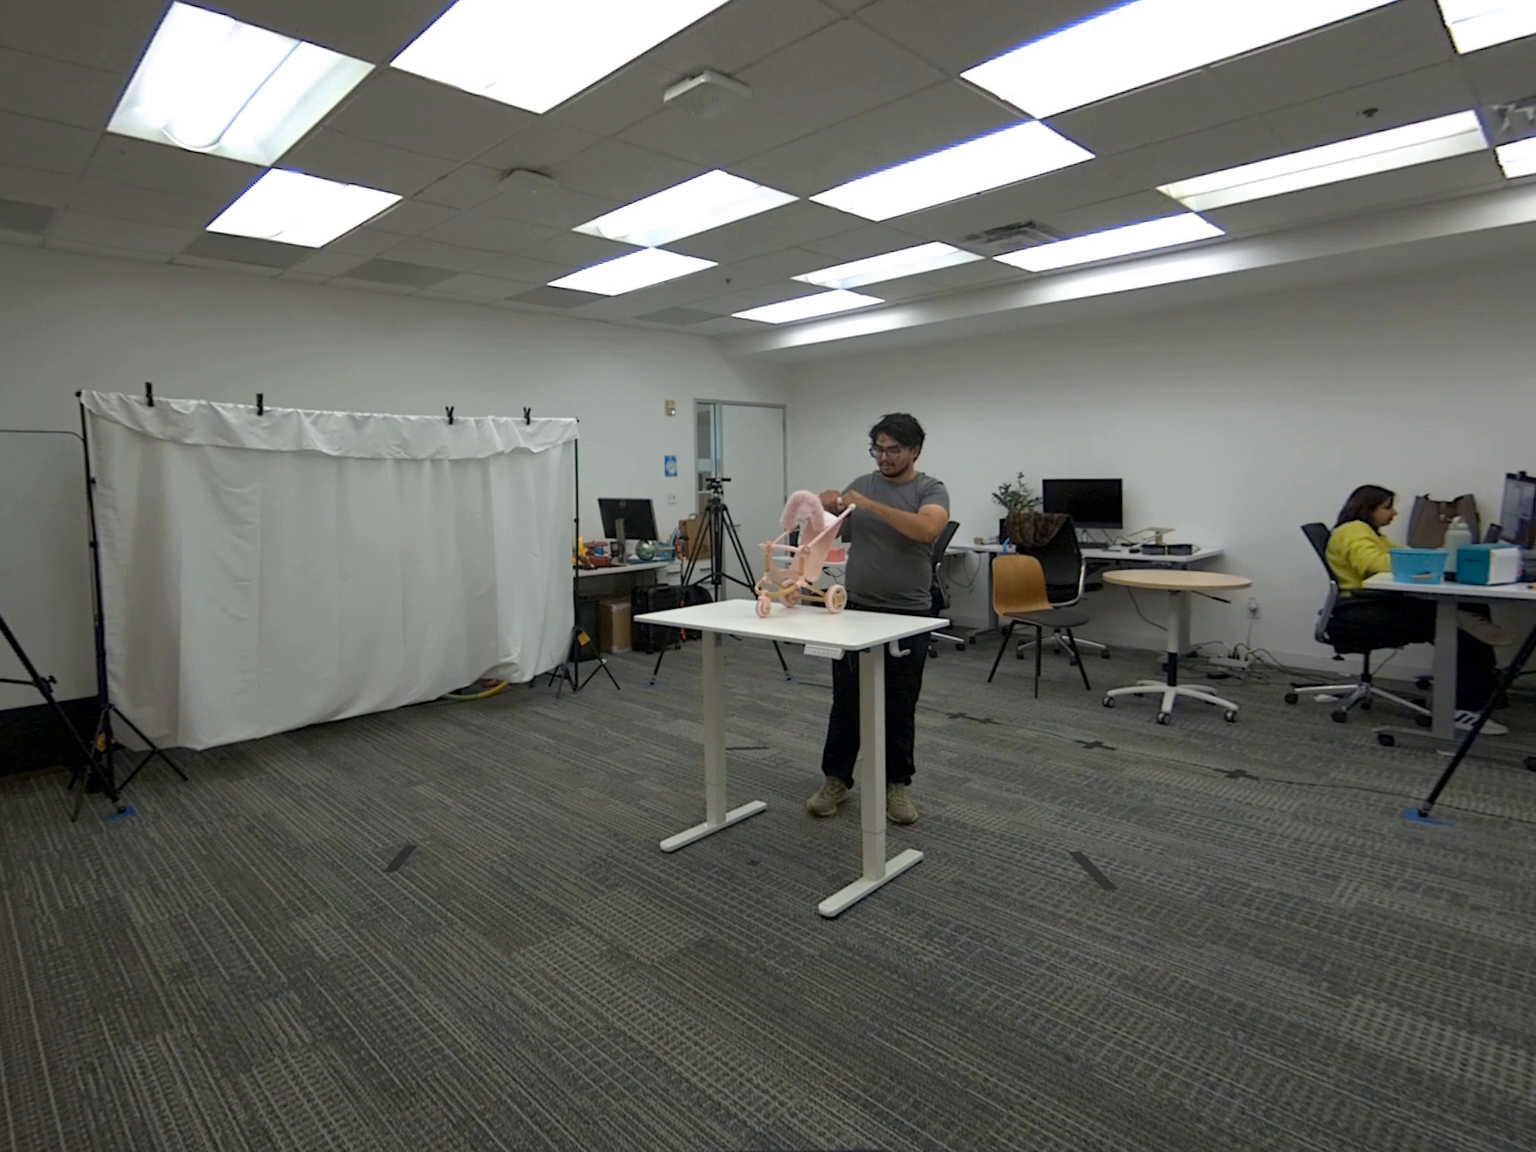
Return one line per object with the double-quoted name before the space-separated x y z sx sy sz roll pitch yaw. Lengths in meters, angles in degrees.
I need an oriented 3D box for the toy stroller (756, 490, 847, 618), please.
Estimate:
"toy stroller" 0.122 -0.085 3.257 0.330 0.537 0.290 14 -6 -37
